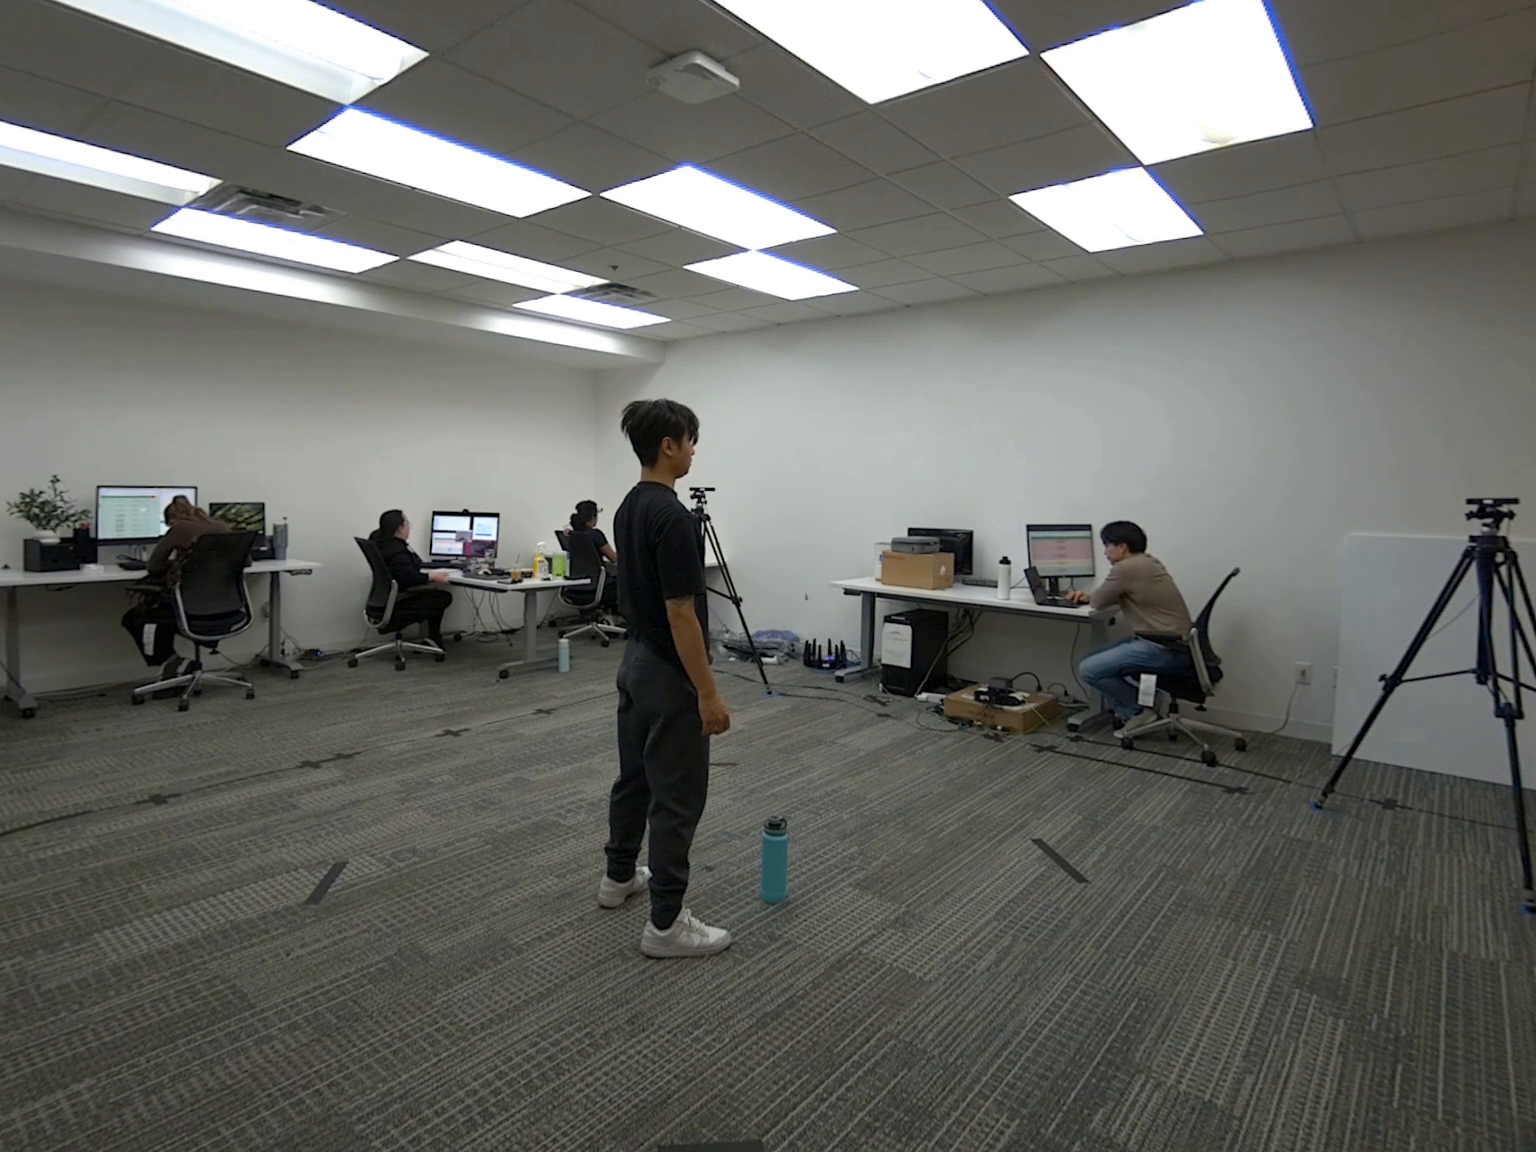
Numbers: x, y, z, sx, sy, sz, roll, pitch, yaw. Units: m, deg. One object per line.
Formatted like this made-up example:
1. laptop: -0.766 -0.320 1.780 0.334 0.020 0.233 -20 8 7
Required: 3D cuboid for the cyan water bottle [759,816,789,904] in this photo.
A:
1. cyan water bottle: 0.012 0.960 2.886 0.092 0.282 0.093 2 3 -2
